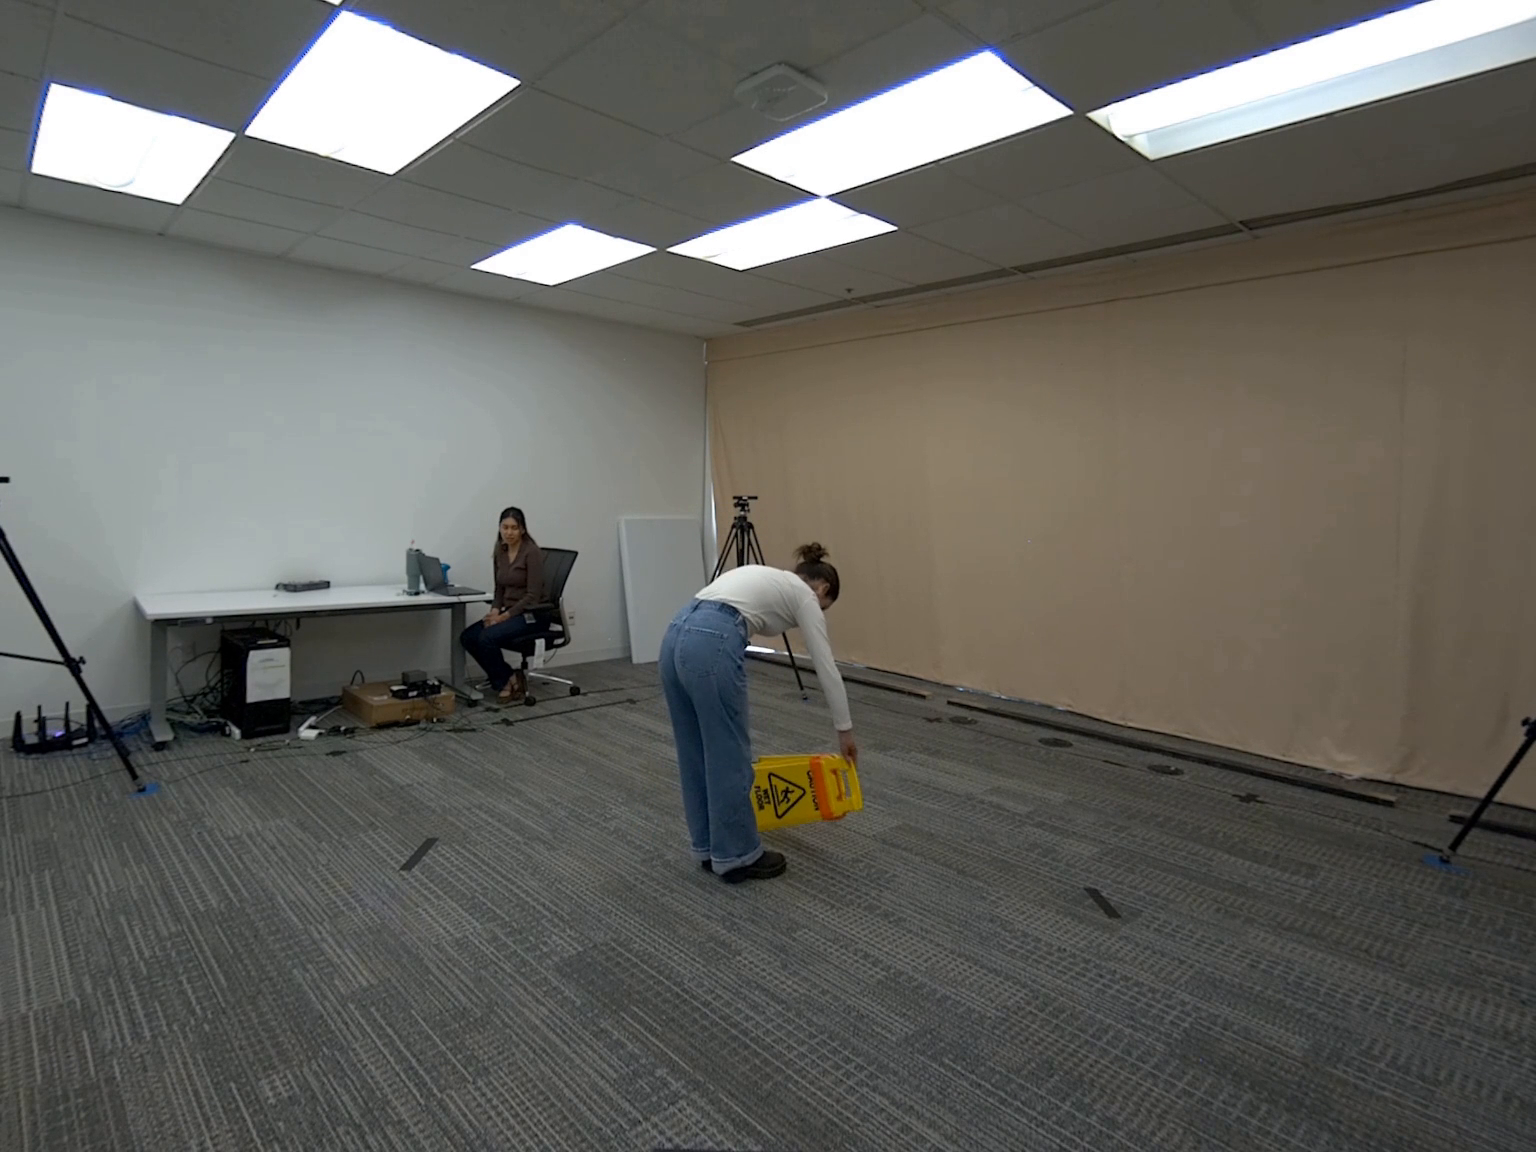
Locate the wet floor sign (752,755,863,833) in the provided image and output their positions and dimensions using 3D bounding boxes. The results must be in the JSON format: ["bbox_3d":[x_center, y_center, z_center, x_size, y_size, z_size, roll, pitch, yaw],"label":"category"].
[{"bbox_3d":[0.099,0.854,3.351,0.283,0.285,0.654,-2,-14,-42],"label":"wet floor sign"}]
